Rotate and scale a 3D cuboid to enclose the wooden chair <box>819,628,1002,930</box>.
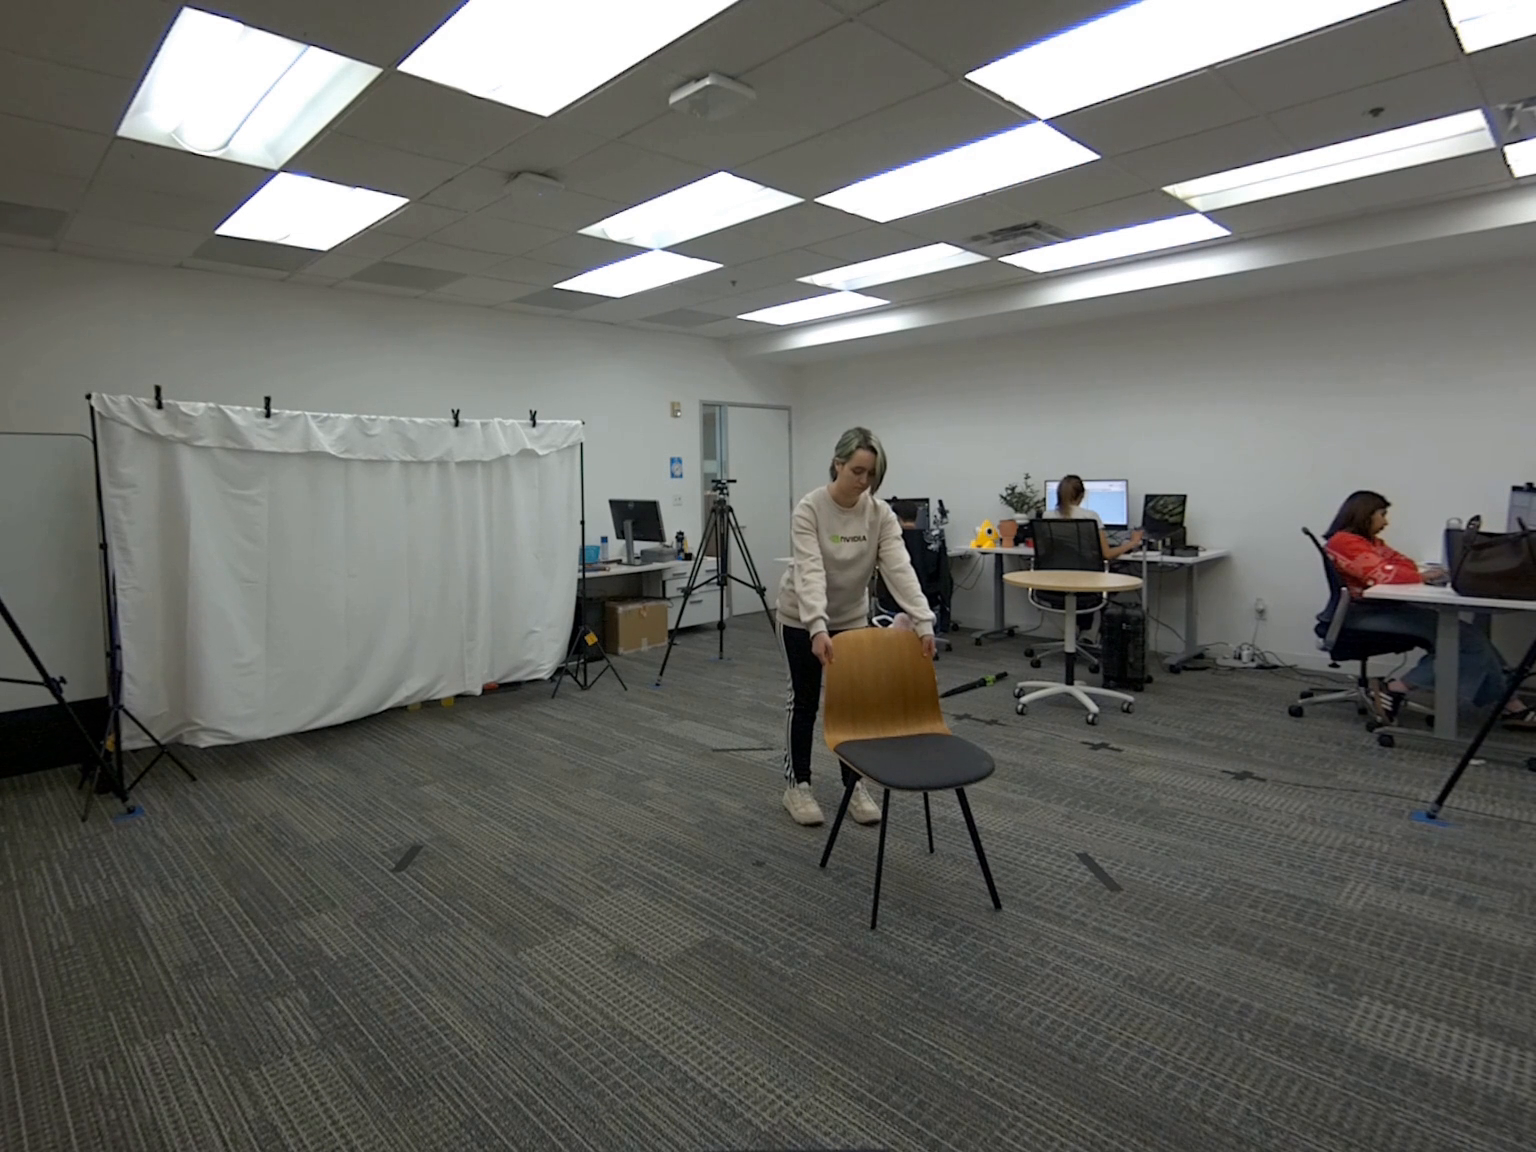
[{"bbox_3d":[0.457,0.642,2.868,0.471,0.878,0.531,-2,0,-16],"label":"wooden chair"}]
